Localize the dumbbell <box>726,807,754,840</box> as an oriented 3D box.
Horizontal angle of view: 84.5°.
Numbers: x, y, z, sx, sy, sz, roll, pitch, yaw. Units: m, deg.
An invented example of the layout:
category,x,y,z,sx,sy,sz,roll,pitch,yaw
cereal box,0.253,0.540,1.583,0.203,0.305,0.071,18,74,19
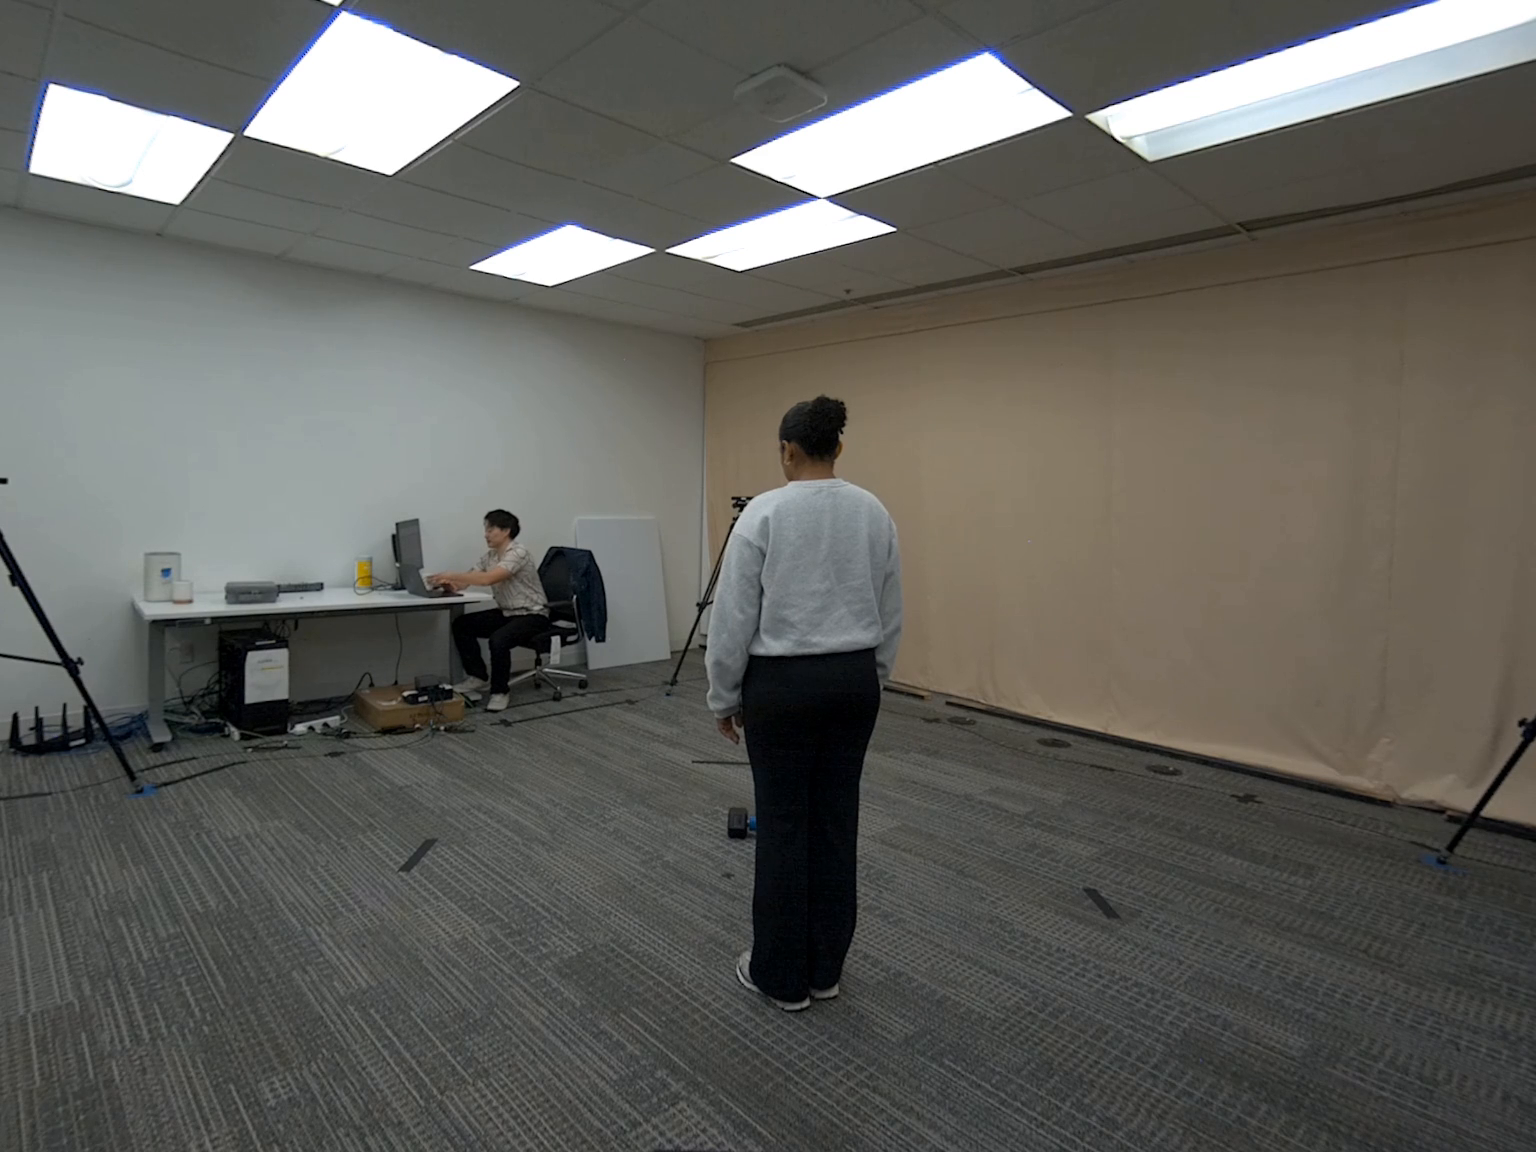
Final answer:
category,x,y,z,sx,sy,sz,roll,pitch,yaw
dumbbell,-0.027,1.023,3.469,0.294,0.120,0.111,1,34,3
